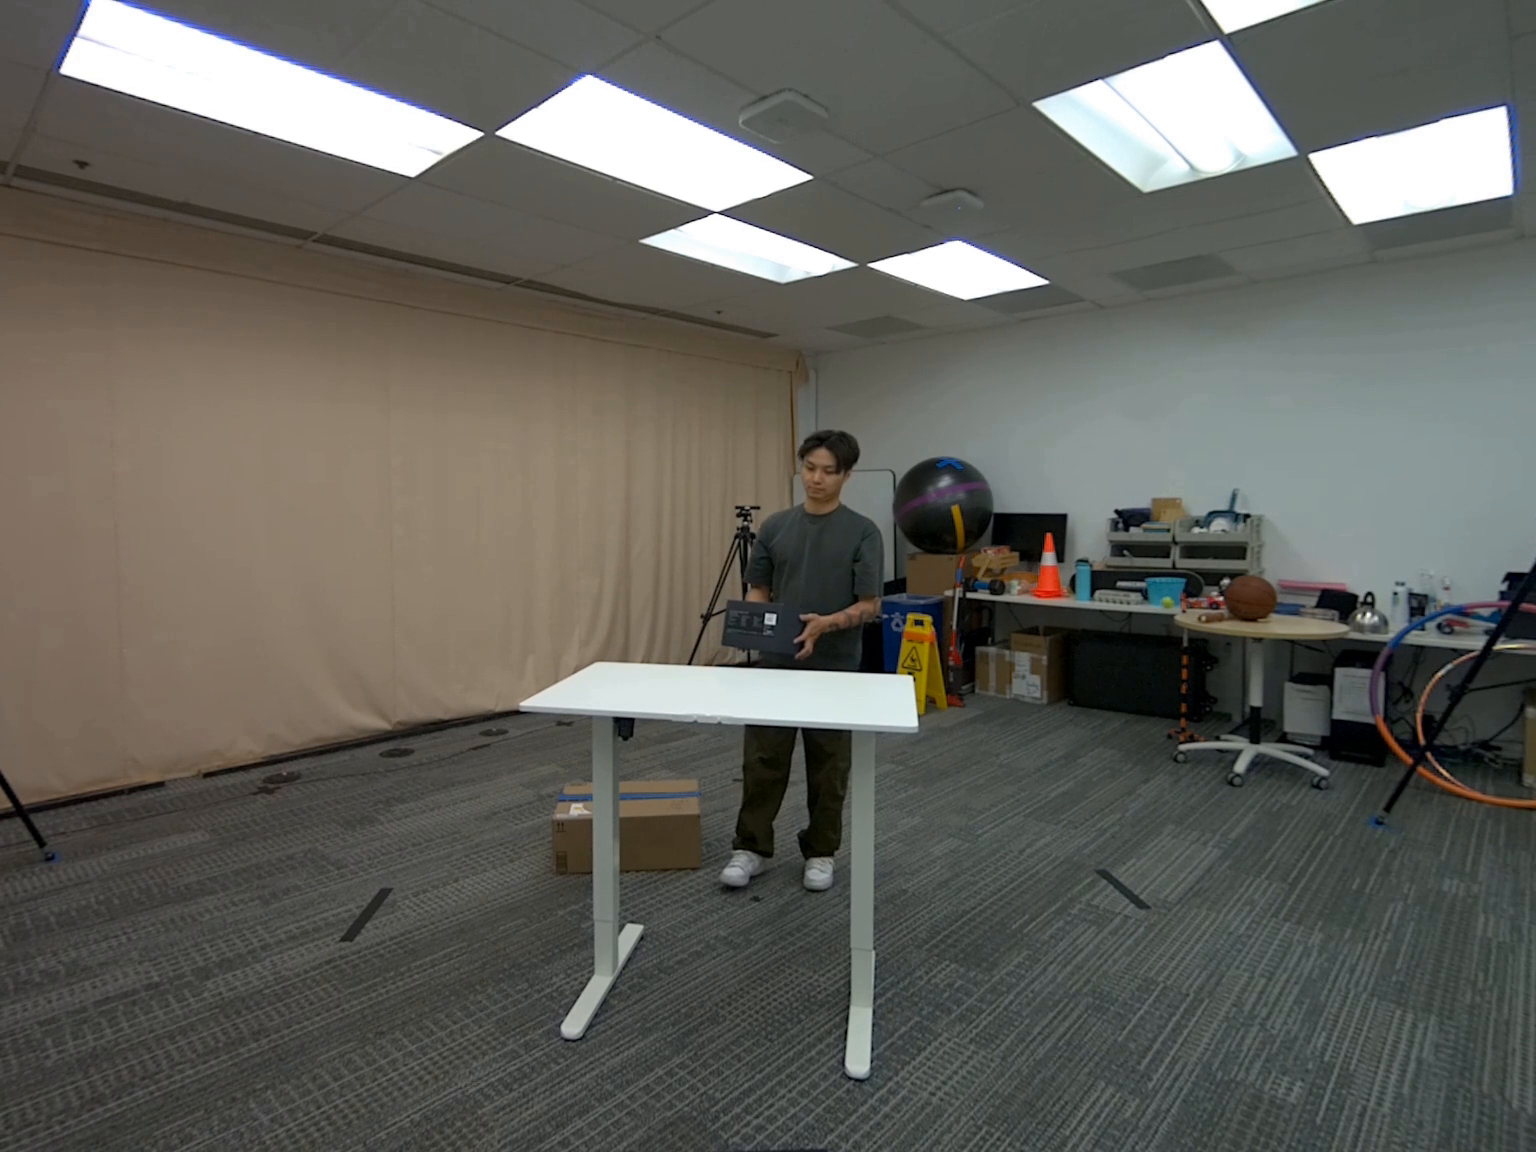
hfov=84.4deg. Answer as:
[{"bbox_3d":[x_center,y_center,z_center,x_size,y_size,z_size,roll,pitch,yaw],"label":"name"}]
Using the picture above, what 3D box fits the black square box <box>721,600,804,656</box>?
[{"bbox_3d":[-0.015,0.167,2.844,0.223,0.156,0.221,5,-4,25],"label":"black square box"}]
